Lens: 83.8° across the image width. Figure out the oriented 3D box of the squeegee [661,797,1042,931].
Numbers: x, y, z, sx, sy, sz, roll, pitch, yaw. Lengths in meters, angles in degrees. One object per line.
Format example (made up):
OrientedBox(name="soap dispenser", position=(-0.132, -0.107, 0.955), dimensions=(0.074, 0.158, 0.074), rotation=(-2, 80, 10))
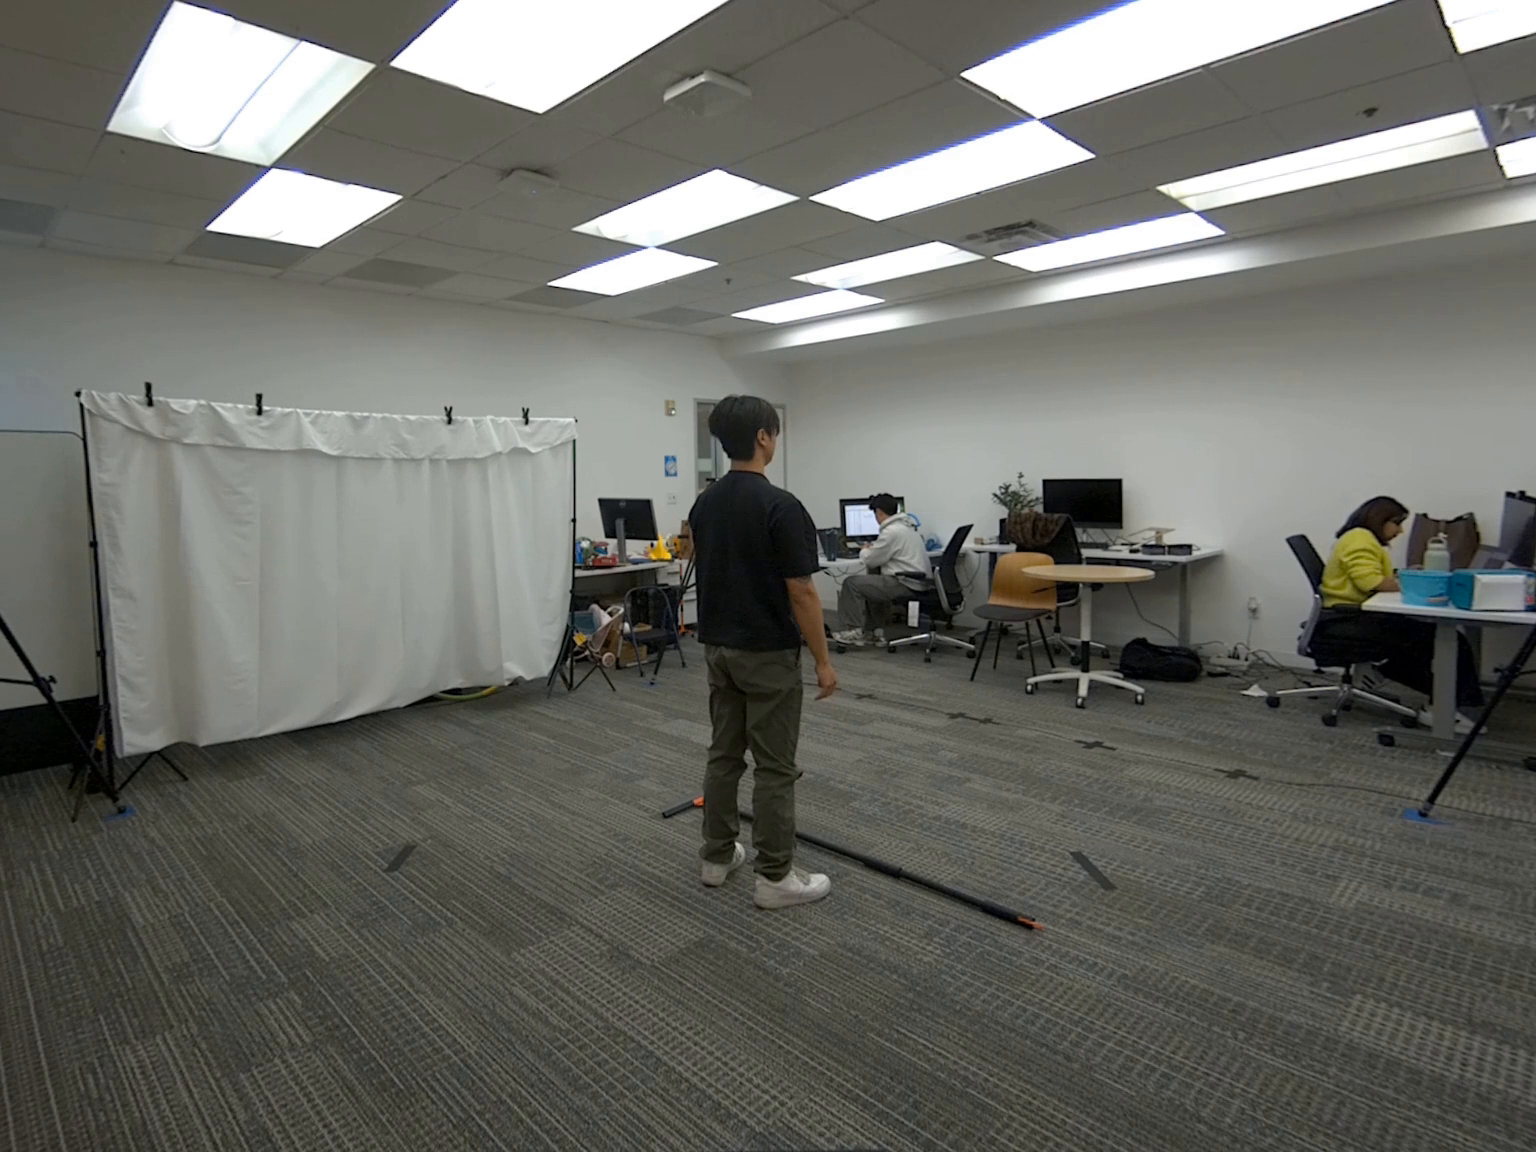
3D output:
OrientedBox(name="squeegee", position=(0.255, 0.992, 3.144), dimensions=(1.586, 0.052, 0.427), rotation=(6, 11, 45))
